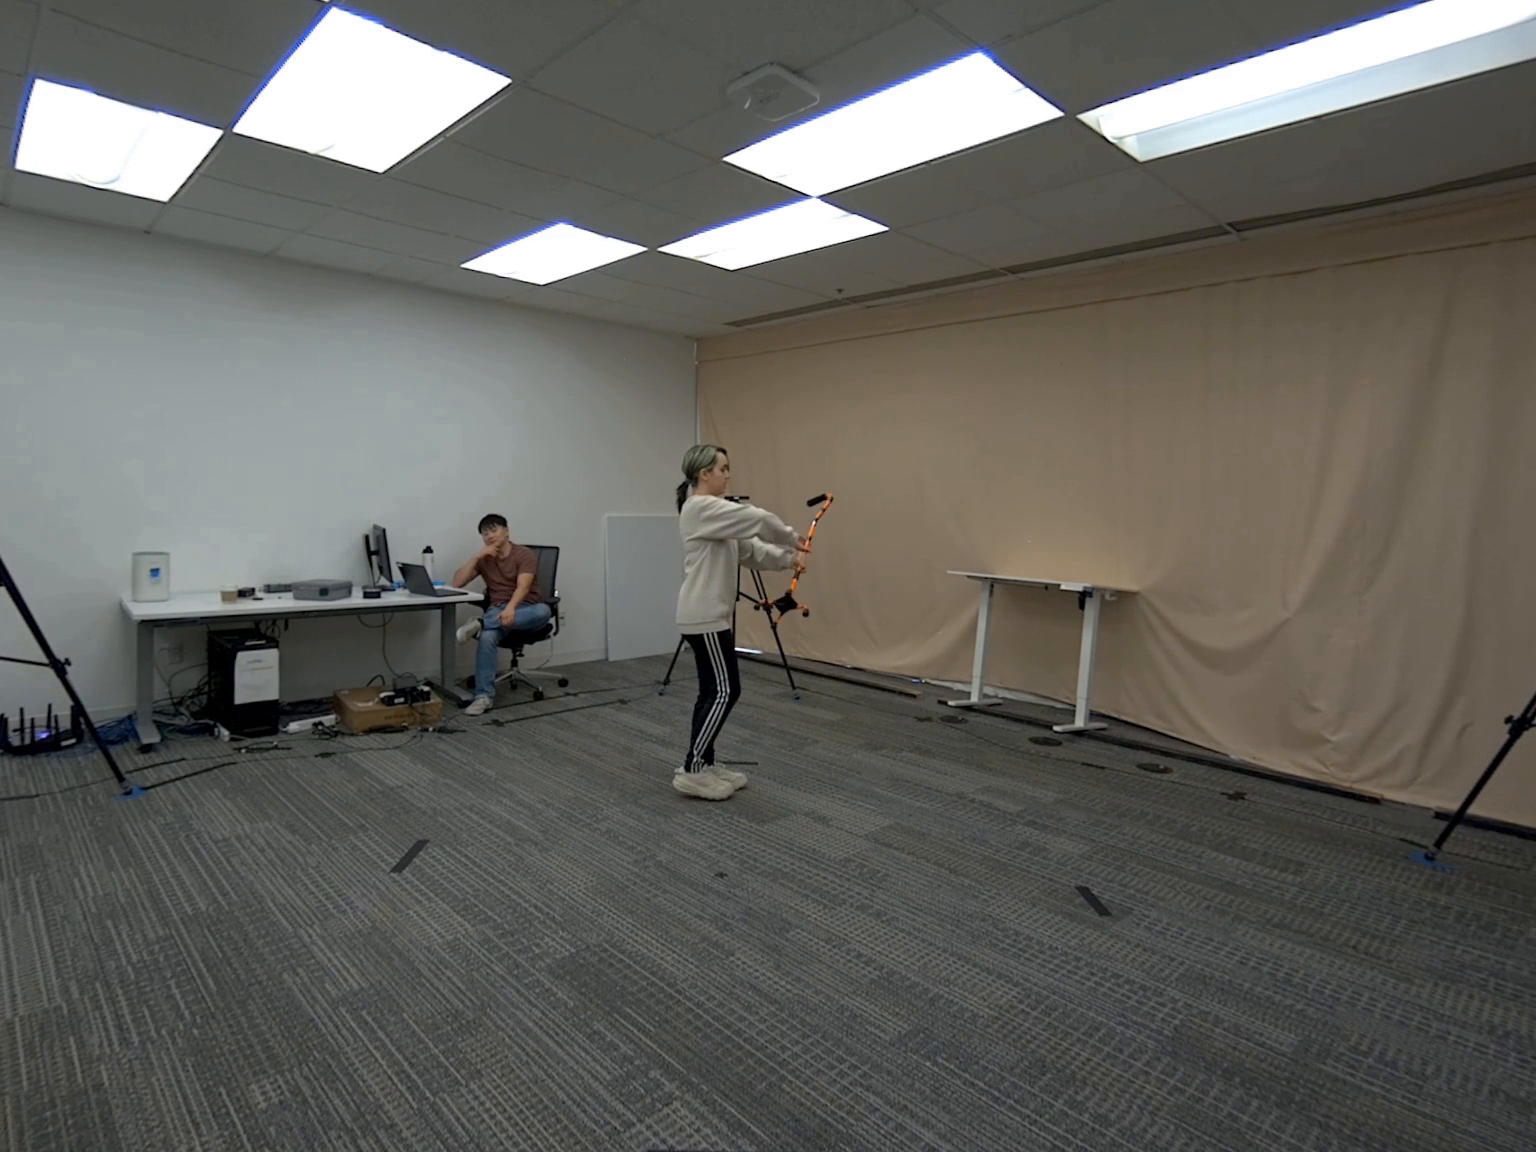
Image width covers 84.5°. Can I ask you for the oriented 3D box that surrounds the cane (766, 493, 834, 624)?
[{"bbox_3d":[0.157,-0.129,3.947,0.209,0.148,0.918,-26,28,33],"label":"cane"}]
